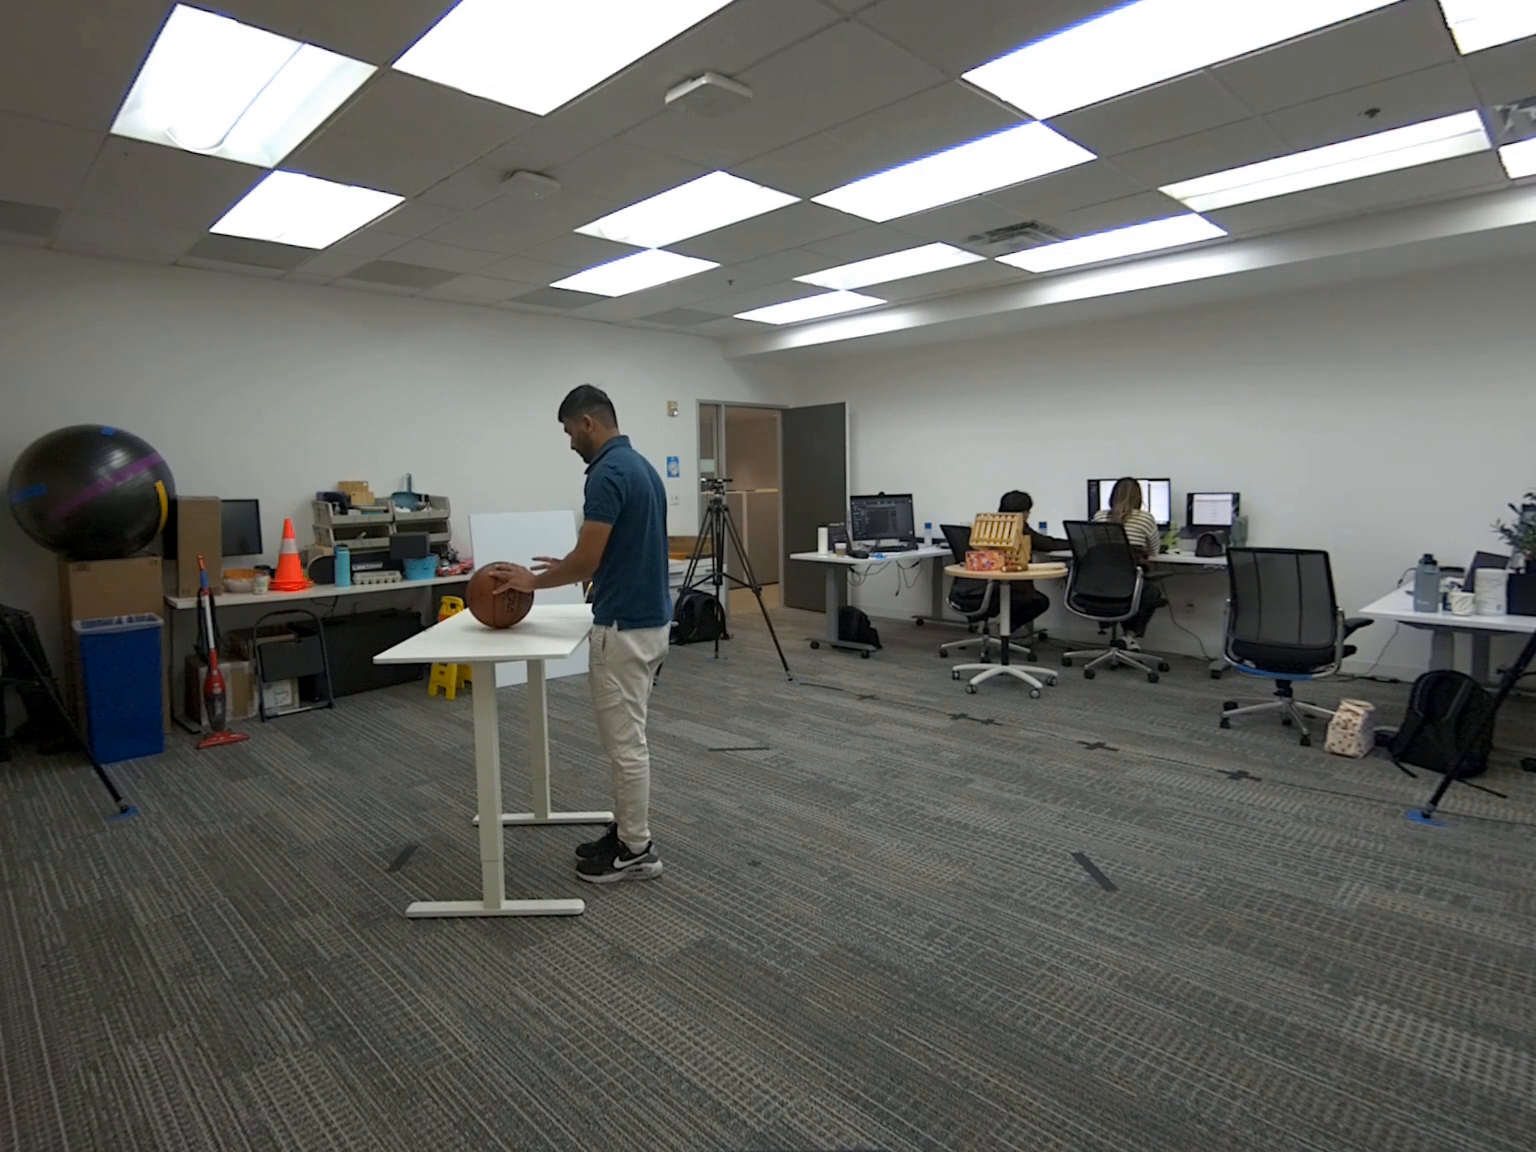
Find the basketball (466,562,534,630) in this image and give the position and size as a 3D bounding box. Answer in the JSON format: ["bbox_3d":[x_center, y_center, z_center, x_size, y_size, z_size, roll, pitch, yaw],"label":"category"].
[{"bbox_3d":[-0.958,0.067,3.069,0.236,0.235,0.237,-1,5,-2],"label":"basketball"}]
